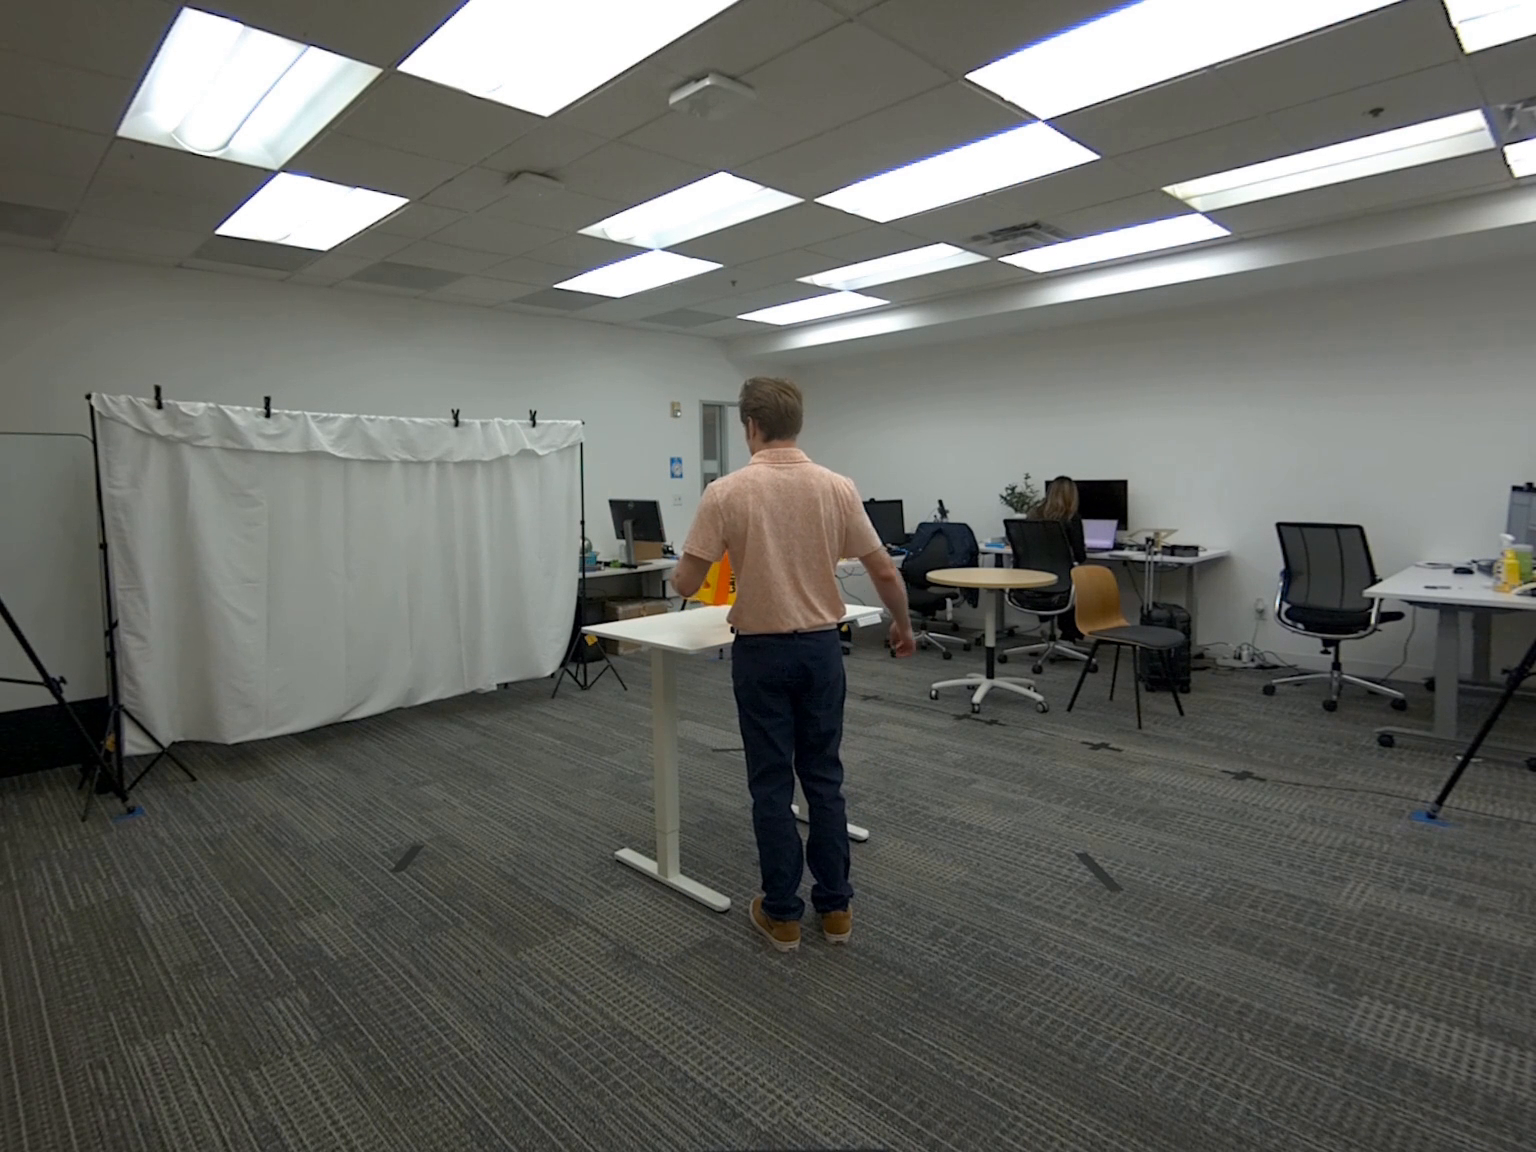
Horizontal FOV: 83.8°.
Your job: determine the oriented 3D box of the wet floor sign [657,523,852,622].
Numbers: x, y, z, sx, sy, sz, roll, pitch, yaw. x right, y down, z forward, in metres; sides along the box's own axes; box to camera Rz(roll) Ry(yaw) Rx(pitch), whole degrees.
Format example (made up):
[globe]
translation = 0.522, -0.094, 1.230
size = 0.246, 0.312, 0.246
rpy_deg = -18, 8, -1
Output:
[wet floor sign]
translation = -0.036, -0.015, 3.080
size = 0.627, 0.281, 0.300
rpy_deg = 1, 9, -42
